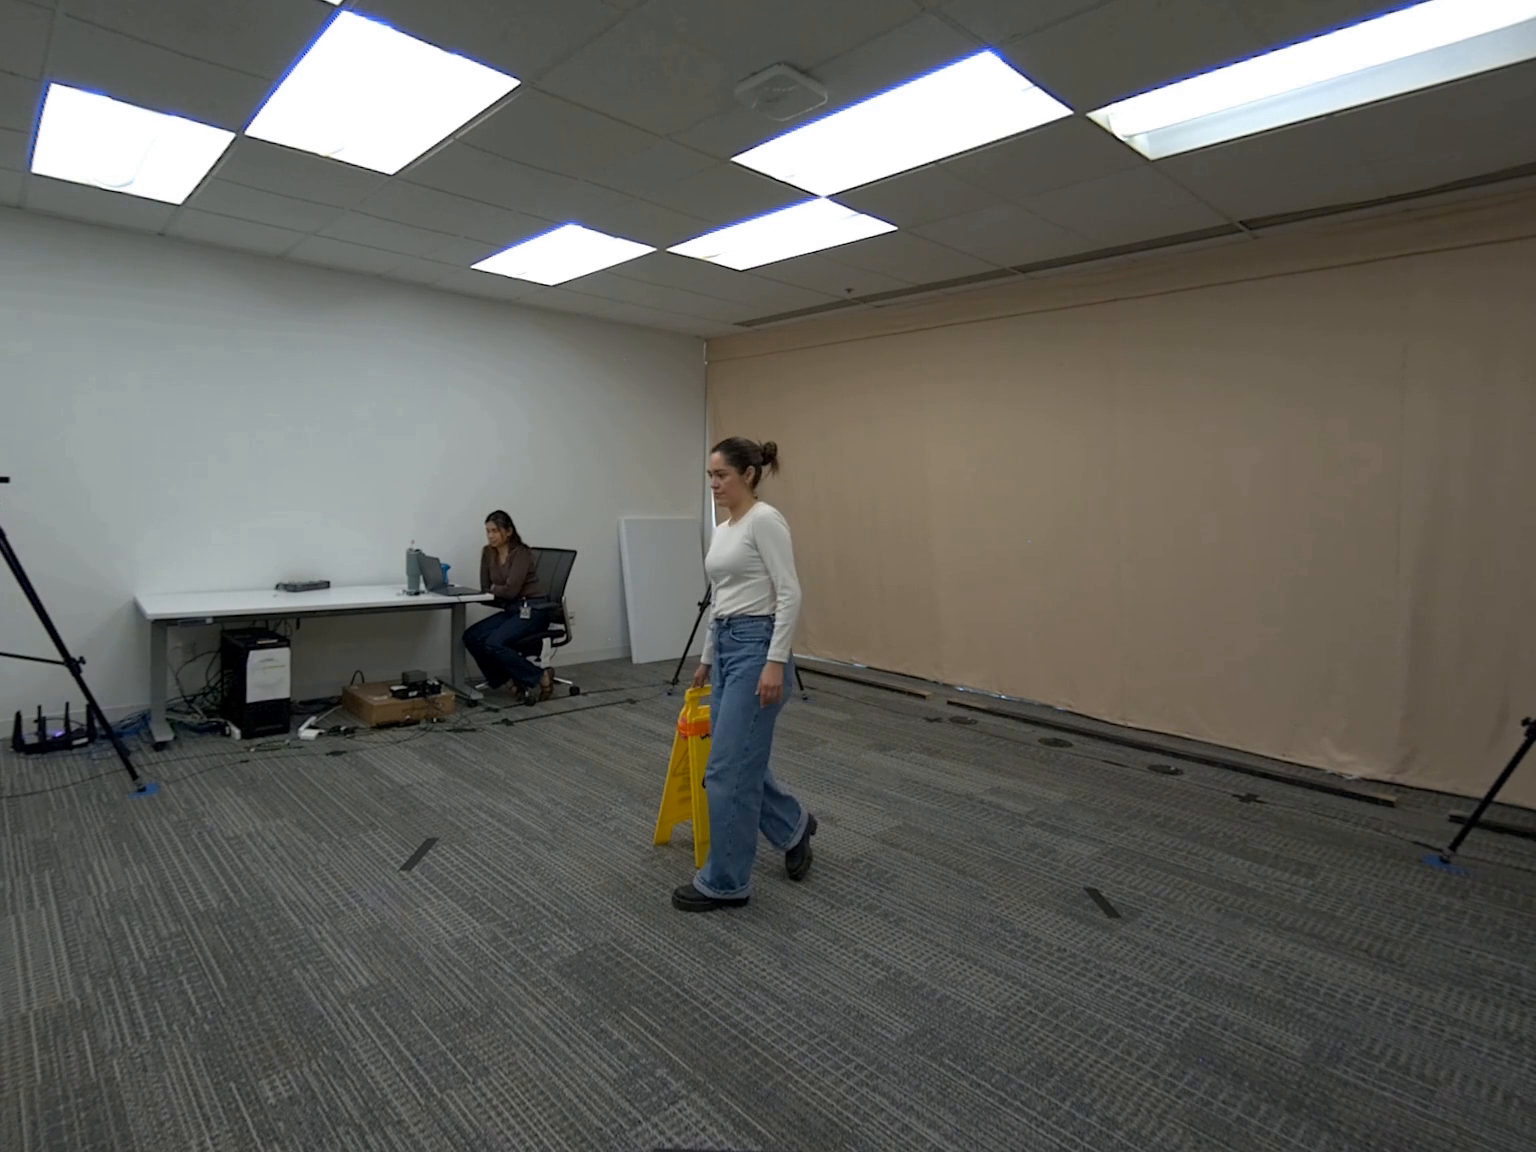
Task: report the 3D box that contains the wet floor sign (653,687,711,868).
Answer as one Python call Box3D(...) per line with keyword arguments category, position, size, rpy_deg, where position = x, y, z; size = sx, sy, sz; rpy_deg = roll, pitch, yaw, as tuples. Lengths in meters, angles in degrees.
Box3D(category="wet floor sign", position=(-0.259, 0.756, 3.321), size=(0.276, 0.645, 0.297), rpy_deg=(-1, 3, -43))
